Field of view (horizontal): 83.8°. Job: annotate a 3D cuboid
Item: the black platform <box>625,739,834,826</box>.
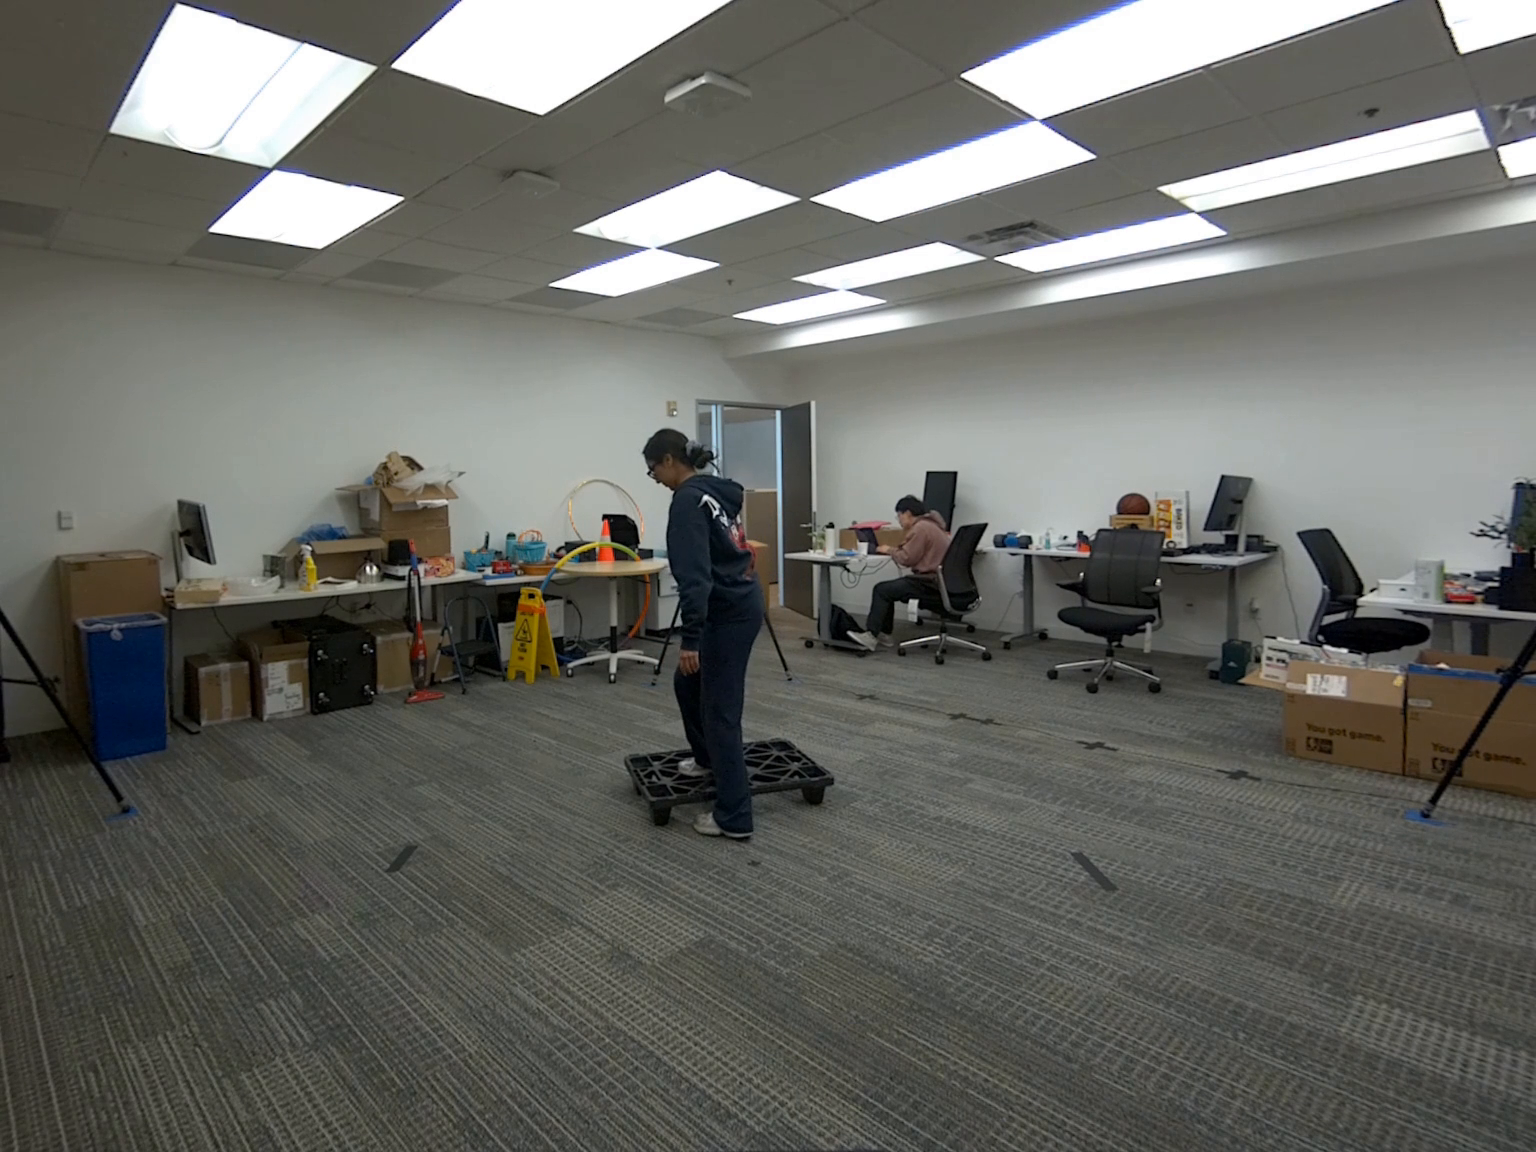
[{"bbox_3d":[-0.183,0.903,3.776,0.793,0.142,0.617,-3,7,-17],"label":"black platform"}]
